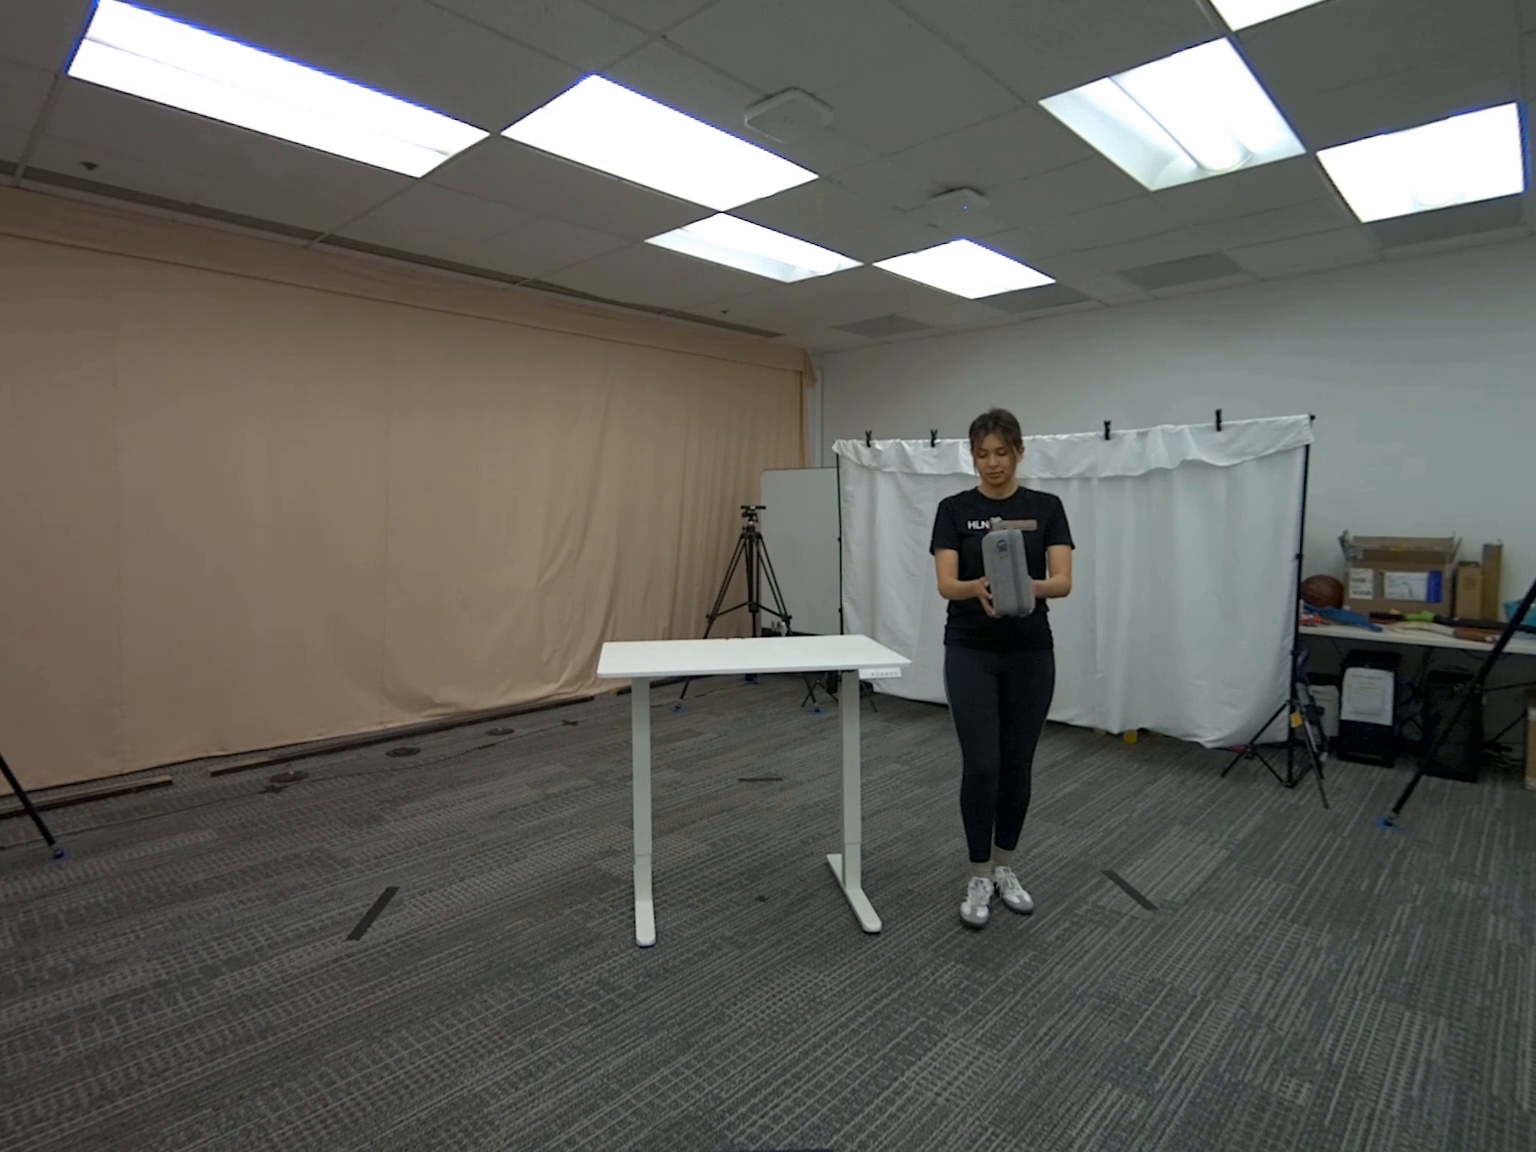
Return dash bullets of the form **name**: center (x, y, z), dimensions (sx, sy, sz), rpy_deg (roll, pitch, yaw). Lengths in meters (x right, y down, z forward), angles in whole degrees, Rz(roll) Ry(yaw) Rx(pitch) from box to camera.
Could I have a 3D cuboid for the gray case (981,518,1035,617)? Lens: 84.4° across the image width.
- **gray case**: center (0.724, -0.014, 2.571), dimensions (0.105, 0.262, 0.253), rpy_deg (-11, -5, 11)
